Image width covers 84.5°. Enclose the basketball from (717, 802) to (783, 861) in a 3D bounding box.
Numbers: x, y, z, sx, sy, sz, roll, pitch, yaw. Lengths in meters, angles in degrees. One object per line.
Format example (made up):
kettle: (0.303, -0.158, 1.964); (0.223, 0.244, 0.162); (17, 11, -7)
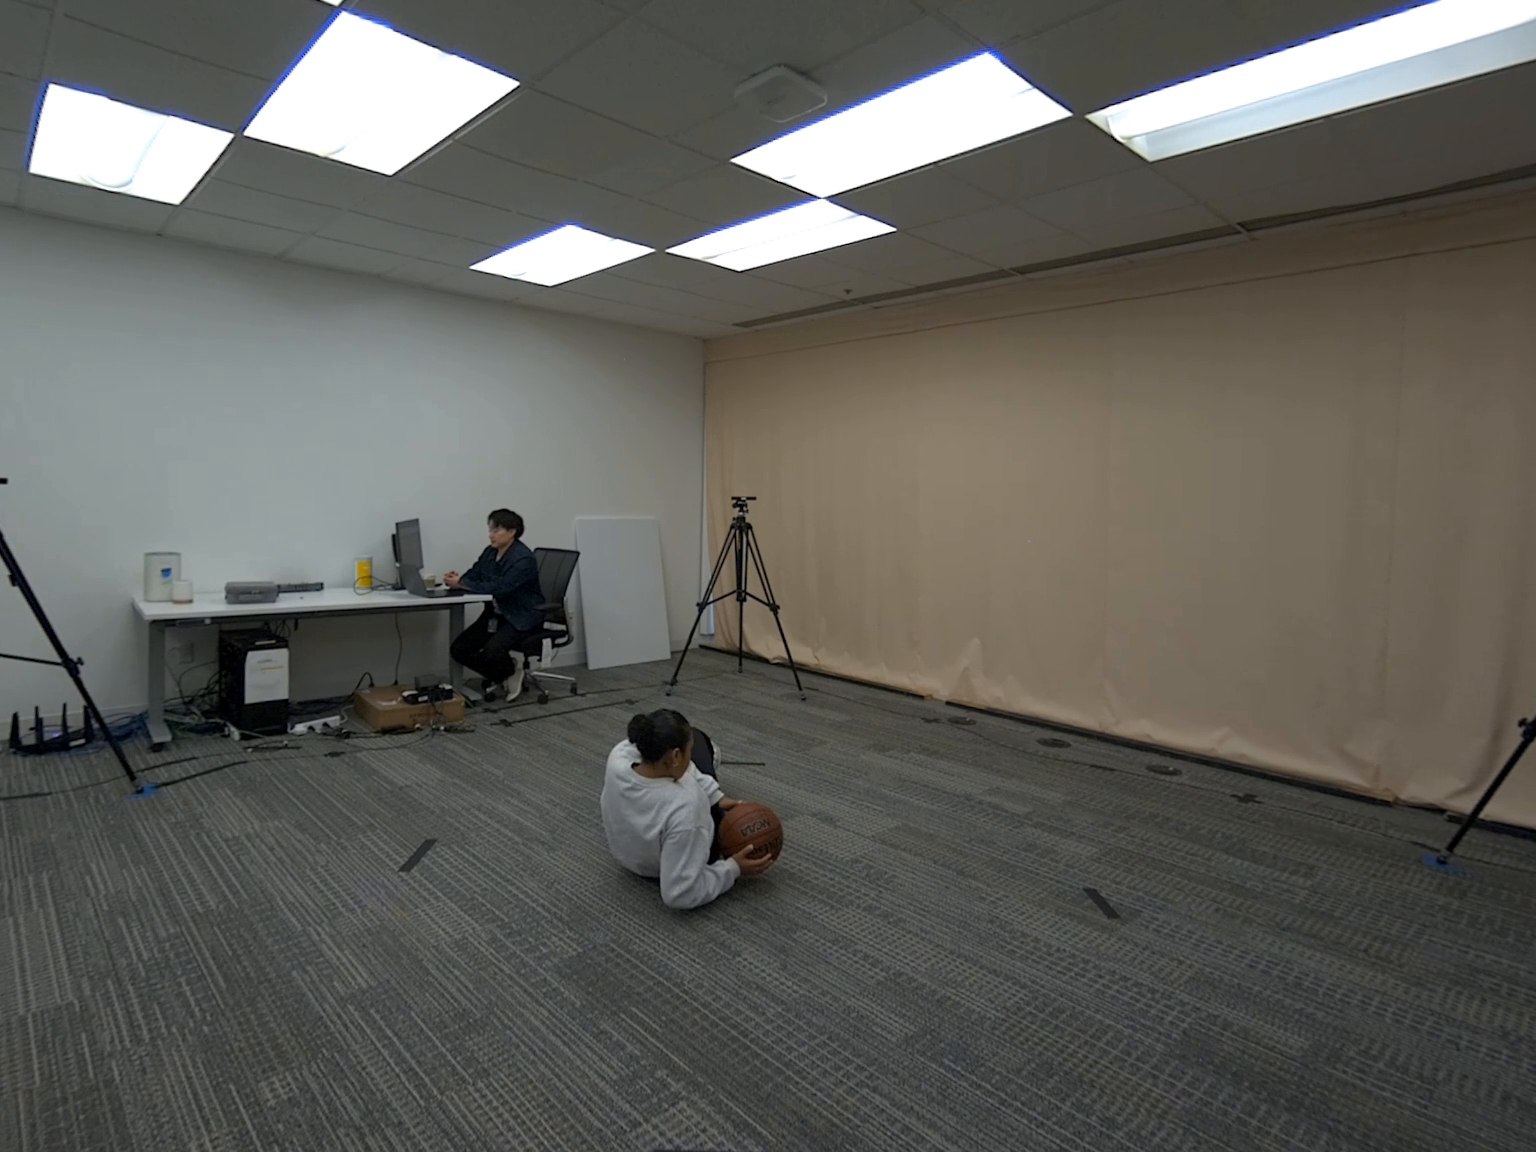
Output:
basketball: (-0.076, 0.923, 3.065); (0.236, 0.235, 0.237); (1, 4, -1)
